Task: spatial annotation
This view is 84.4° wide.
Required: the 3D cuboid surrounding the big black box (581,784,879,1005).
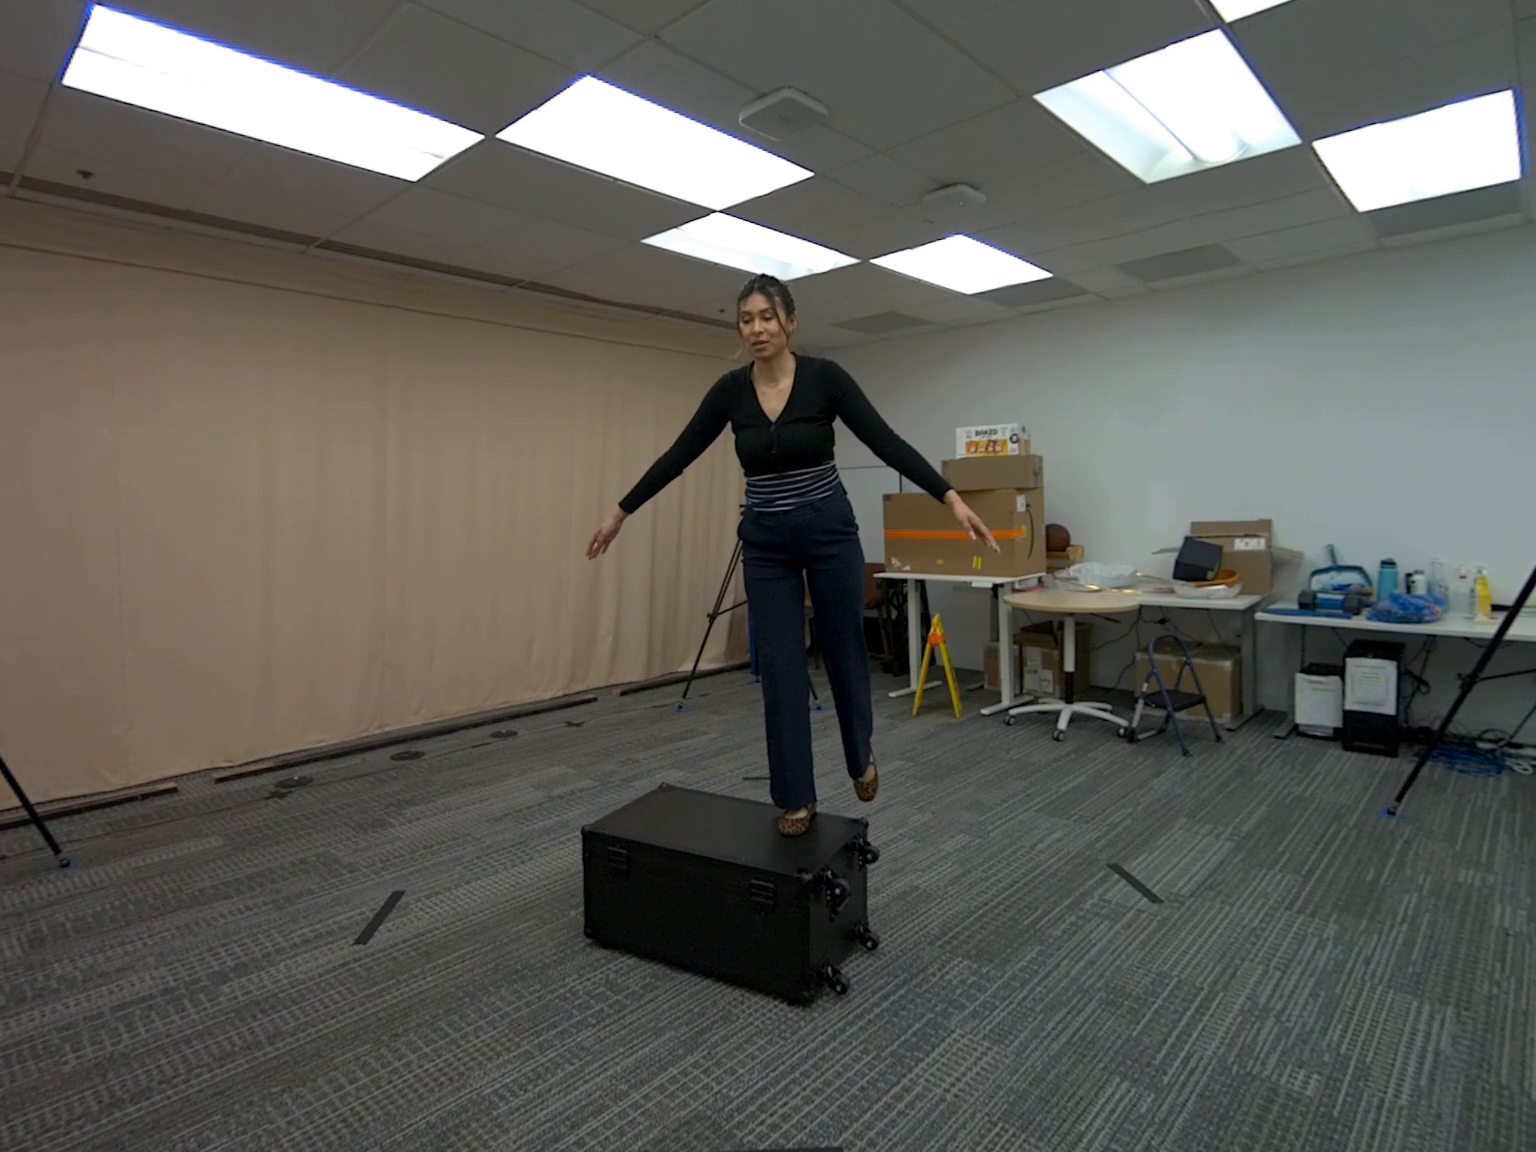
[{"bbox_3d":[-0.103,0.980,2.672,0.885,0.395,0.508,1,4,28],"label":"big black box"}]
